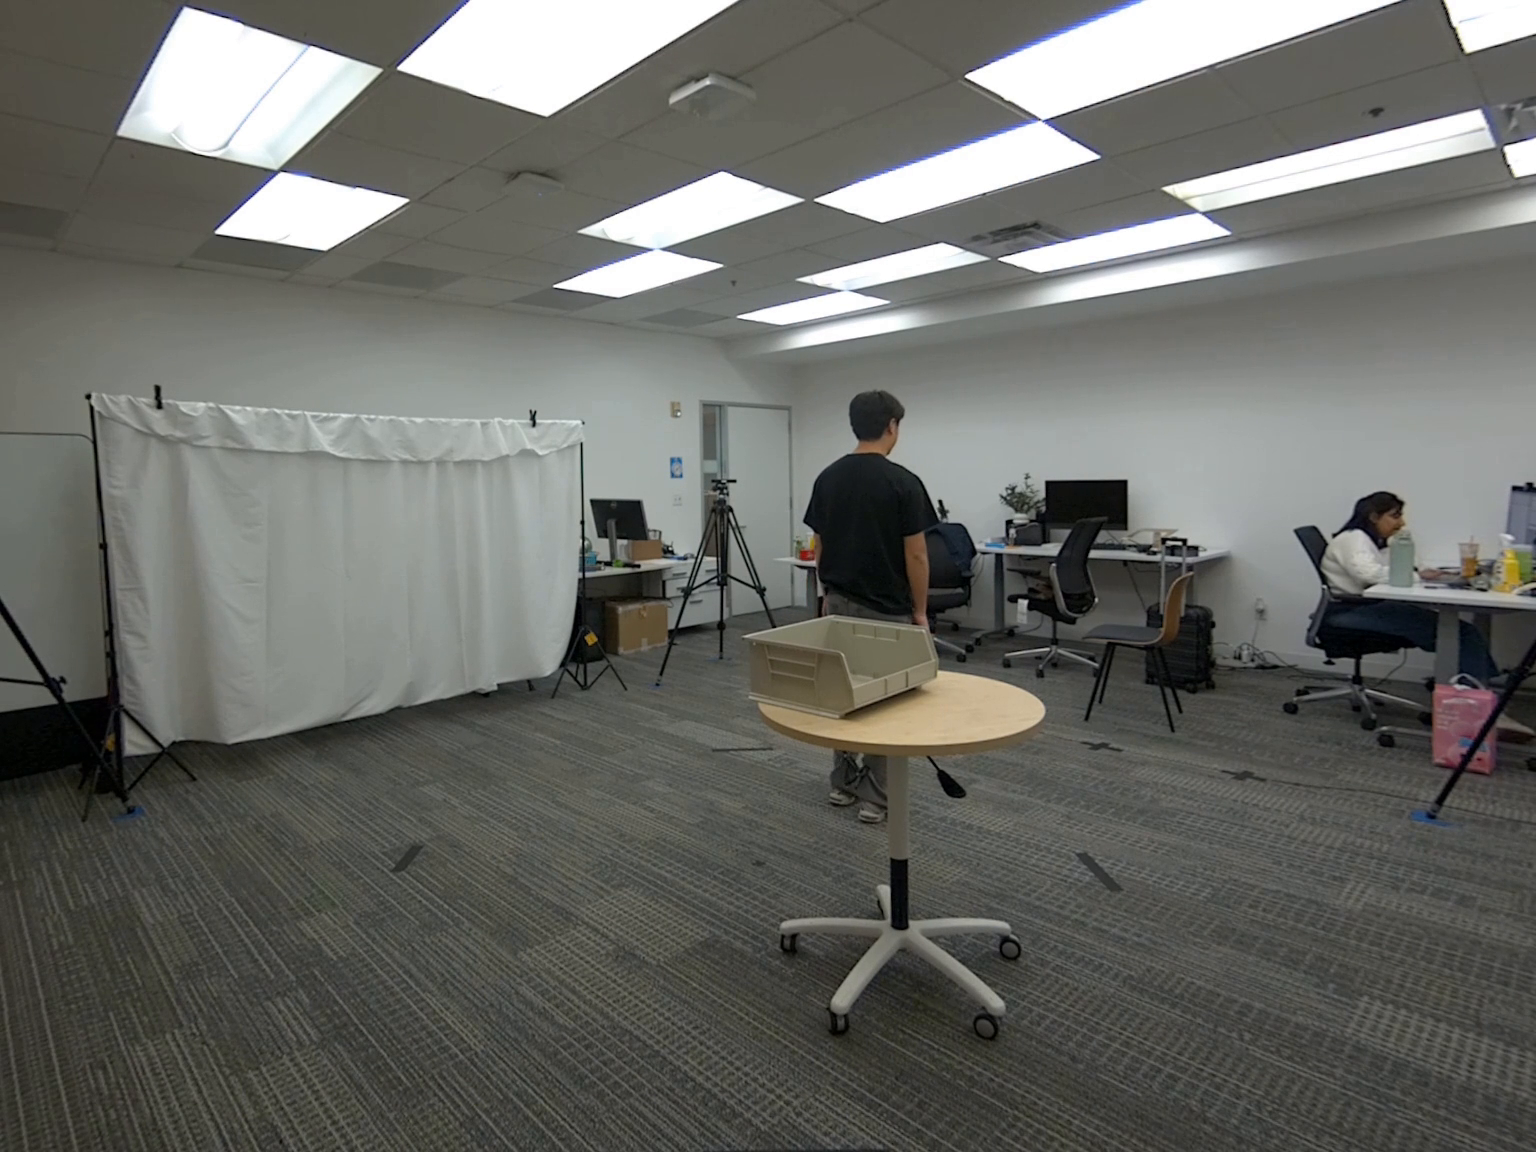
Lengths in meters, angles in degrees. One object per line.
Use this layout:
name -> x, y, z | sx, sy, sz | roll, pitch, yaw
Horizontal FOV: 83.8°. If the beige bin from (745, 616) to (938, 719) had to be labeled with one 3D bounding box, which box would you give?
beige bin -> 0.206, 0.251, 2.419 | 0.389, 0.188, 0.412 | 4, 9, 44
